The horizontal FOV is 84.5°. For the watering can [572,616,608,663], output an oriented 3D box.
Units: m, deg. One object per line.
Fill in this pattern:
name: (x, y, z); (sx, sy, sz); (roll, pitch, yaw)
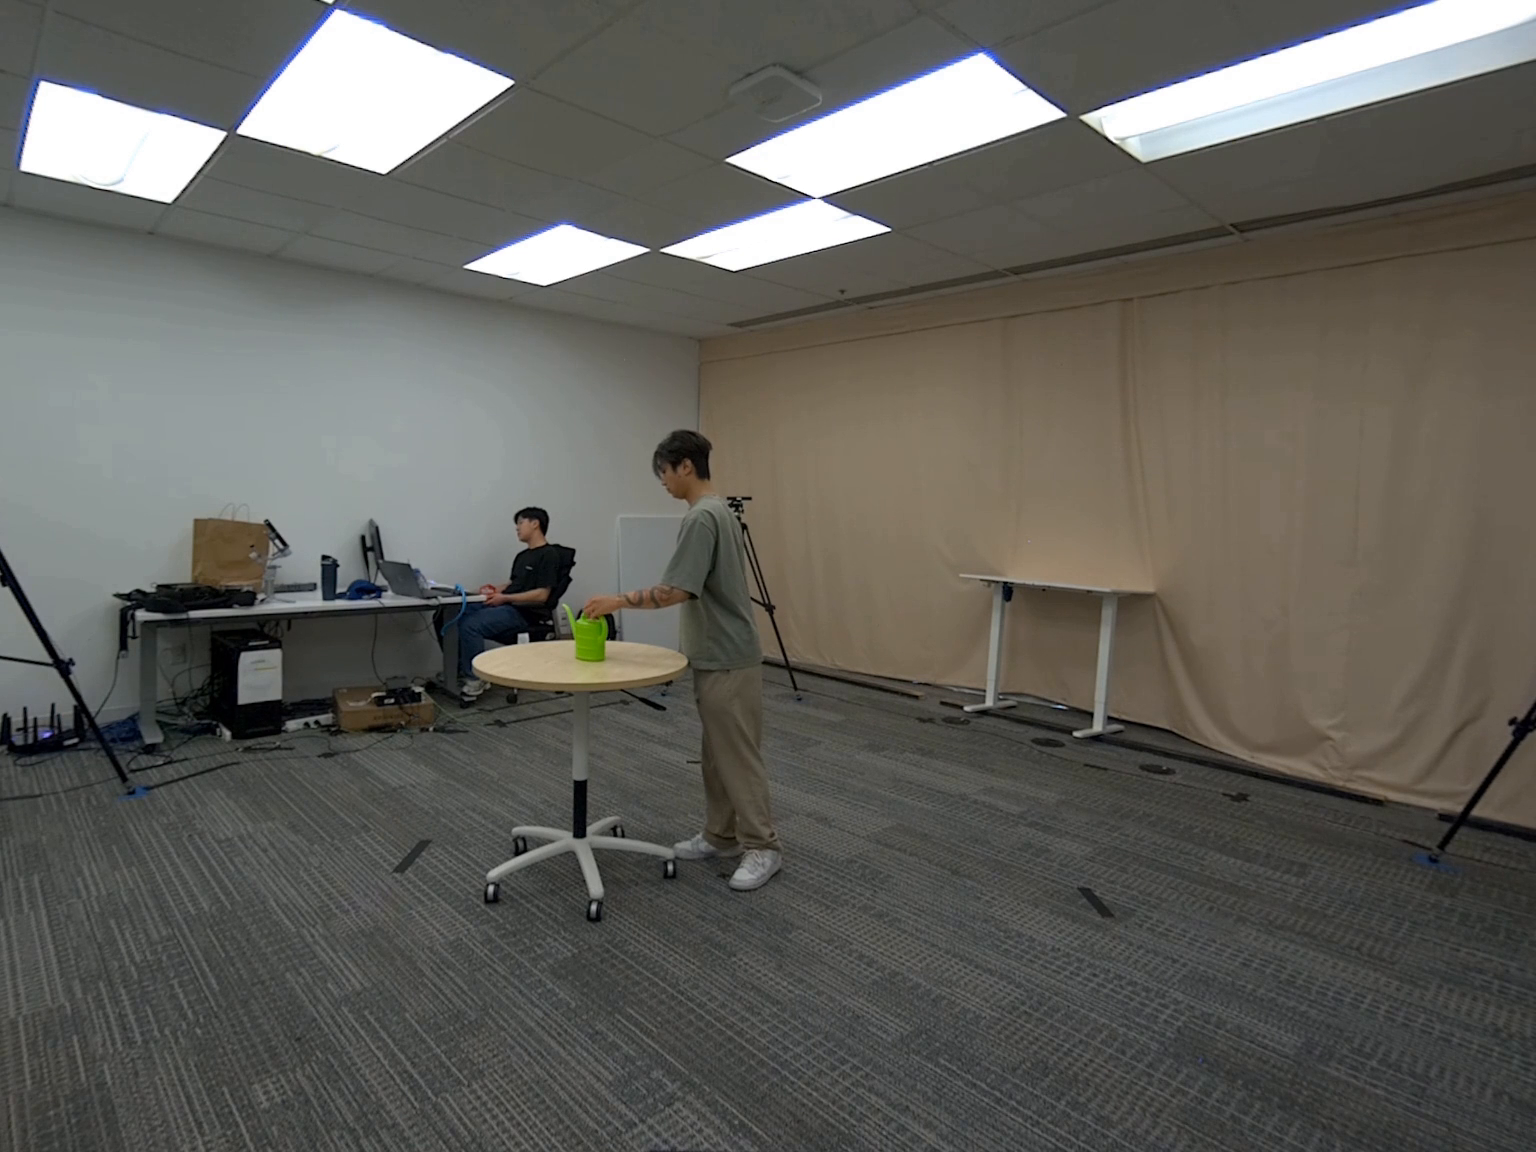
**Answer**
watering can: (-0.665, 0.211, 3.096); (0.096, 0.176, 0.285); (2, 5, -32)
